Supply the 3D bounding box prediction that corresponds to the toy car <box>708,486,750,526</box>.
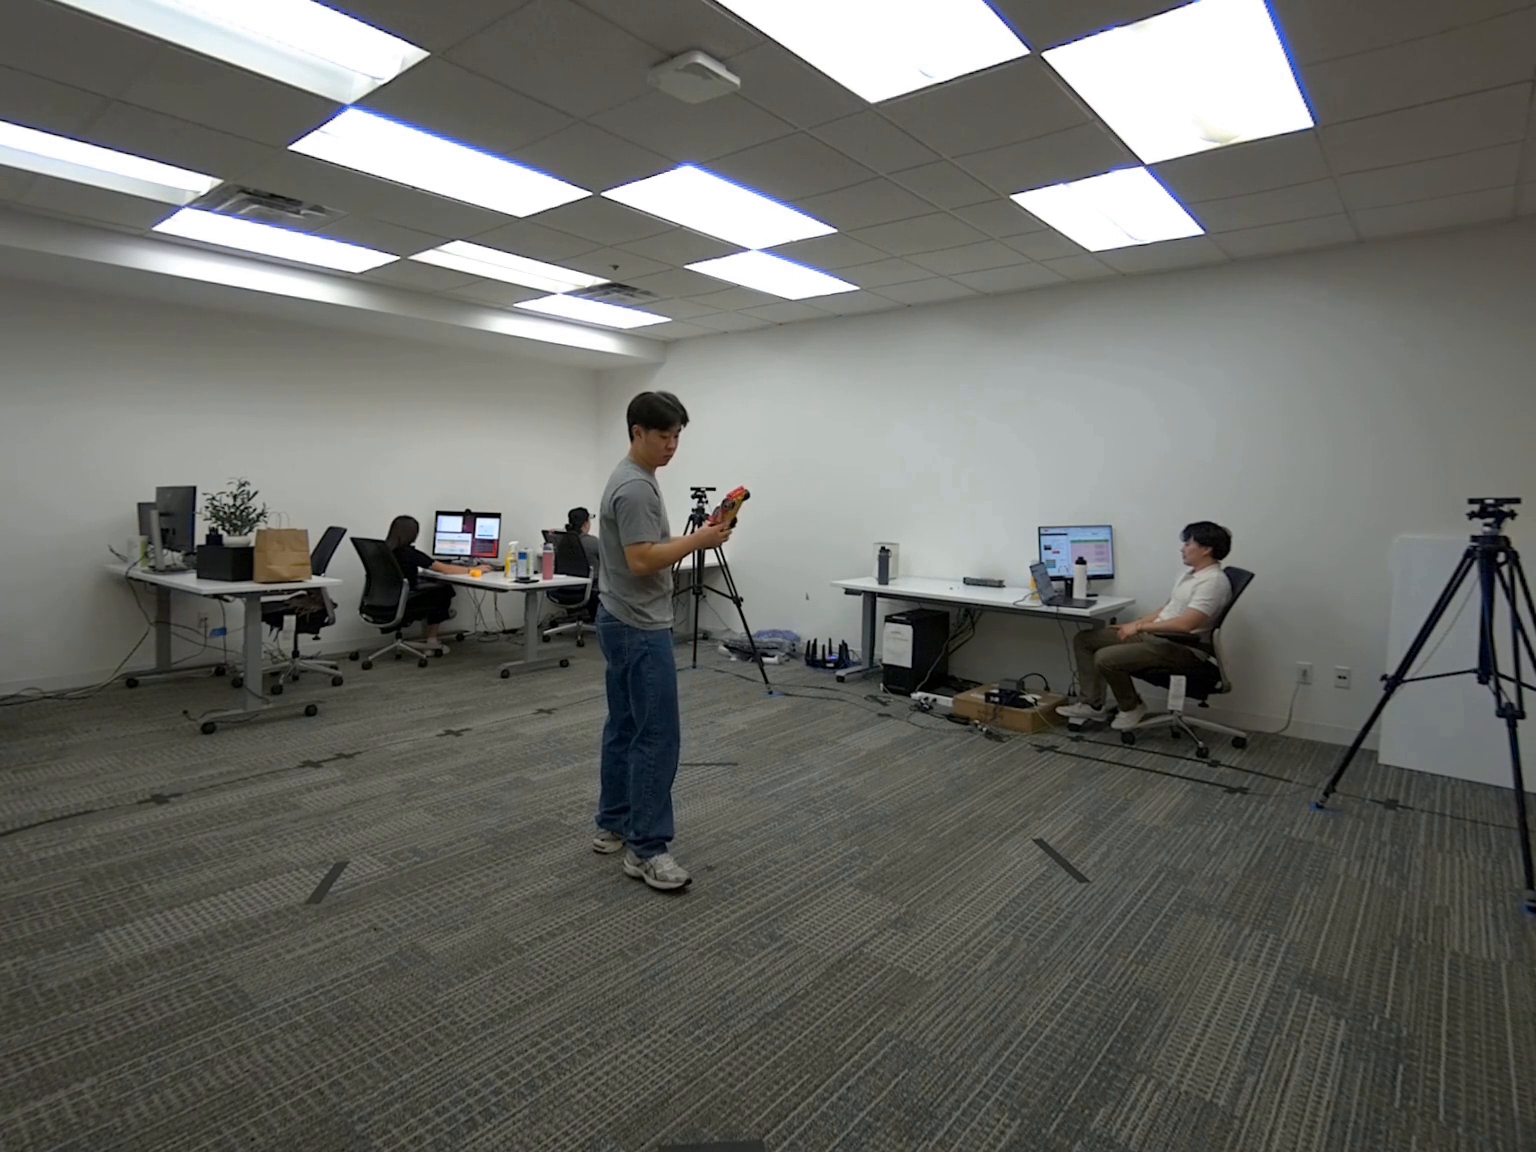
[{"bbox_3d":[-0.168,-0.233,3.179,0.129,0.084,0.255,-33,-5,-40],"label":"toy car"}]
